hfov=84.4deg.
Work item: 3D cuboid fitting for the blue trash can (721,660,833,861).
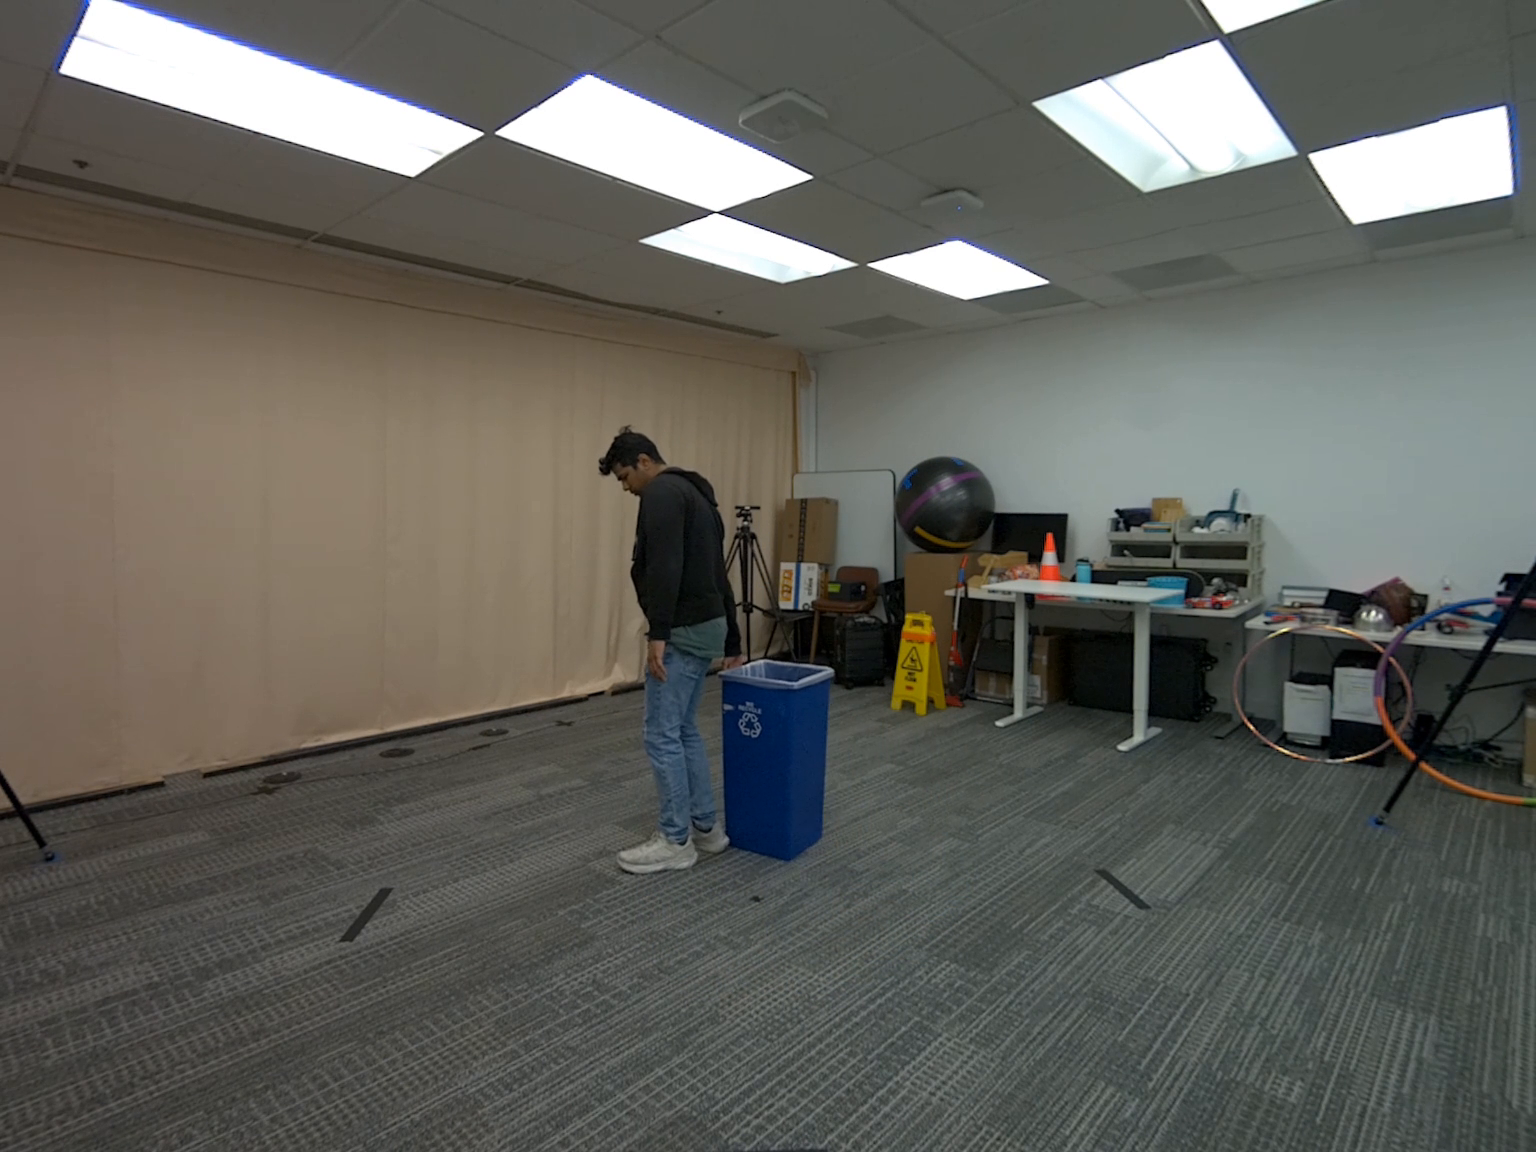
[{"bbox_3d":[0.039,0.742,3.470,0.389,0.712,0.364,3,3,31],"label":"blue trash can"}]
